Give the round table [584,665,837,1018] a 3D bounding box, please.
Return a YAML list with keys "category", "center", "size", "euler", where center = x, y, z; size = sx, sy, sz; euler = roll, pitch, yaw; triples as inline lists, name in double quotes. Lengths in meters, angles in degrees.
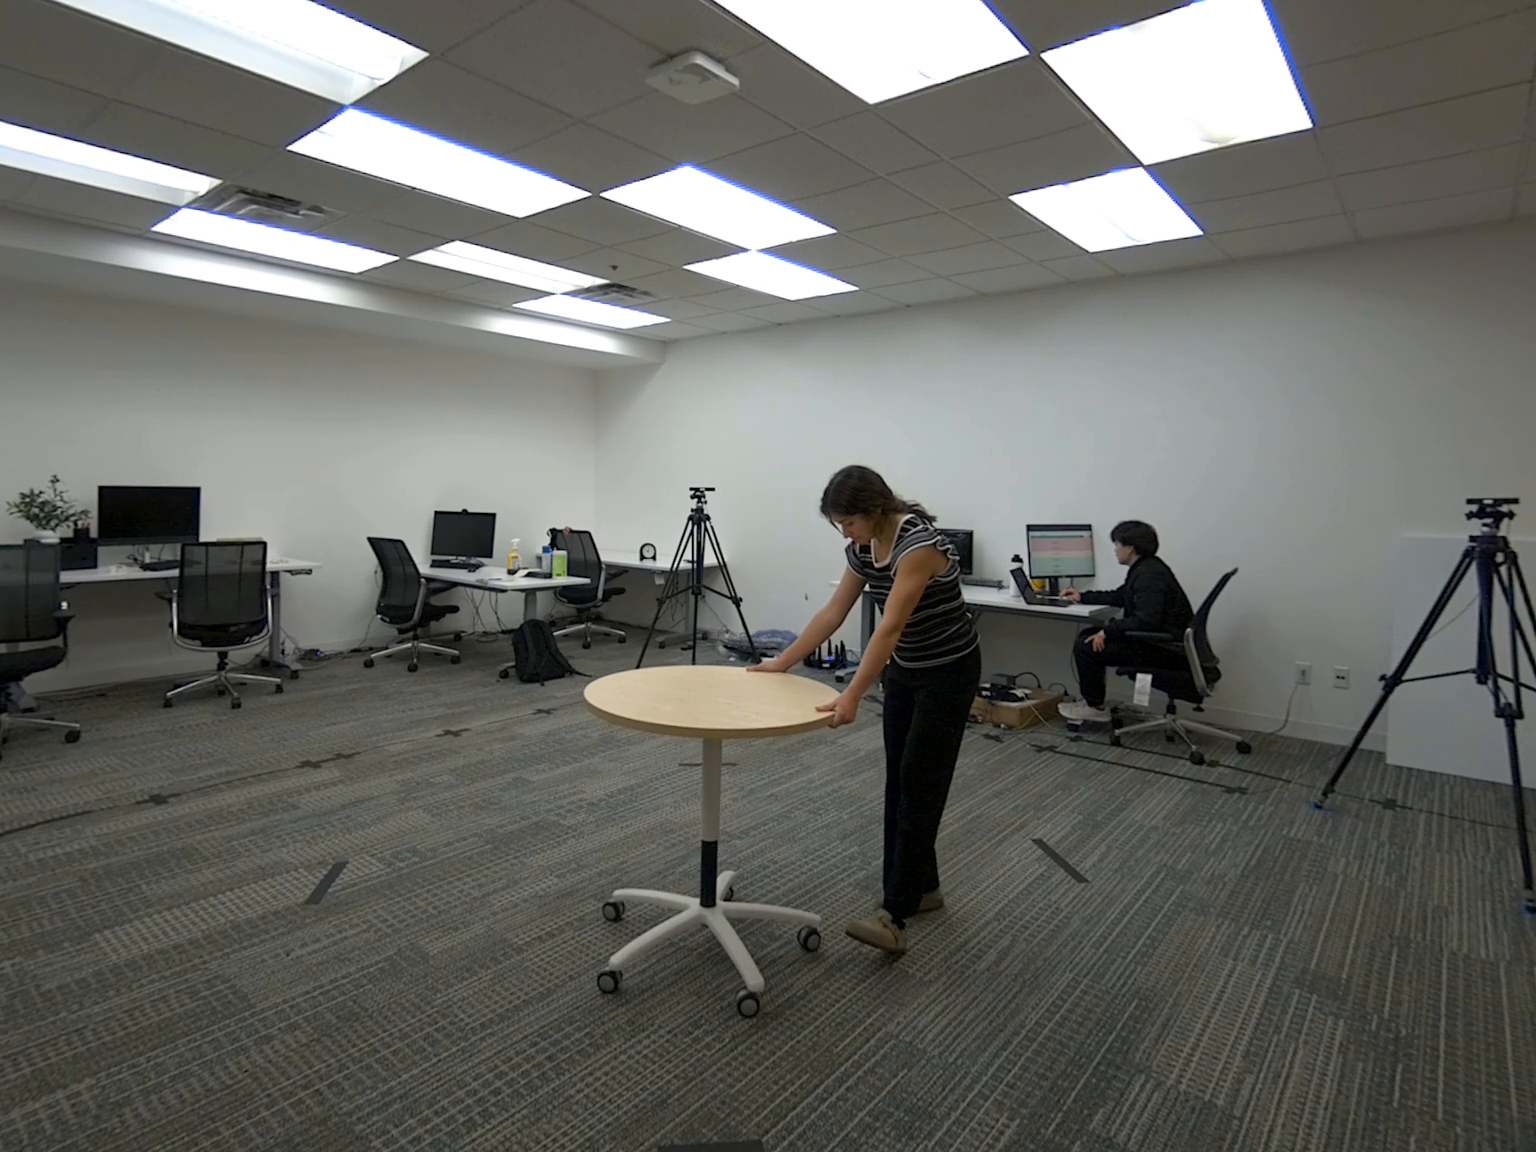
- category: "round table"
  center: [-0.192, 0.736, 2.546]
  size: [0.763, 0.791, 0.768]
  euler: [2, 4, -2]
